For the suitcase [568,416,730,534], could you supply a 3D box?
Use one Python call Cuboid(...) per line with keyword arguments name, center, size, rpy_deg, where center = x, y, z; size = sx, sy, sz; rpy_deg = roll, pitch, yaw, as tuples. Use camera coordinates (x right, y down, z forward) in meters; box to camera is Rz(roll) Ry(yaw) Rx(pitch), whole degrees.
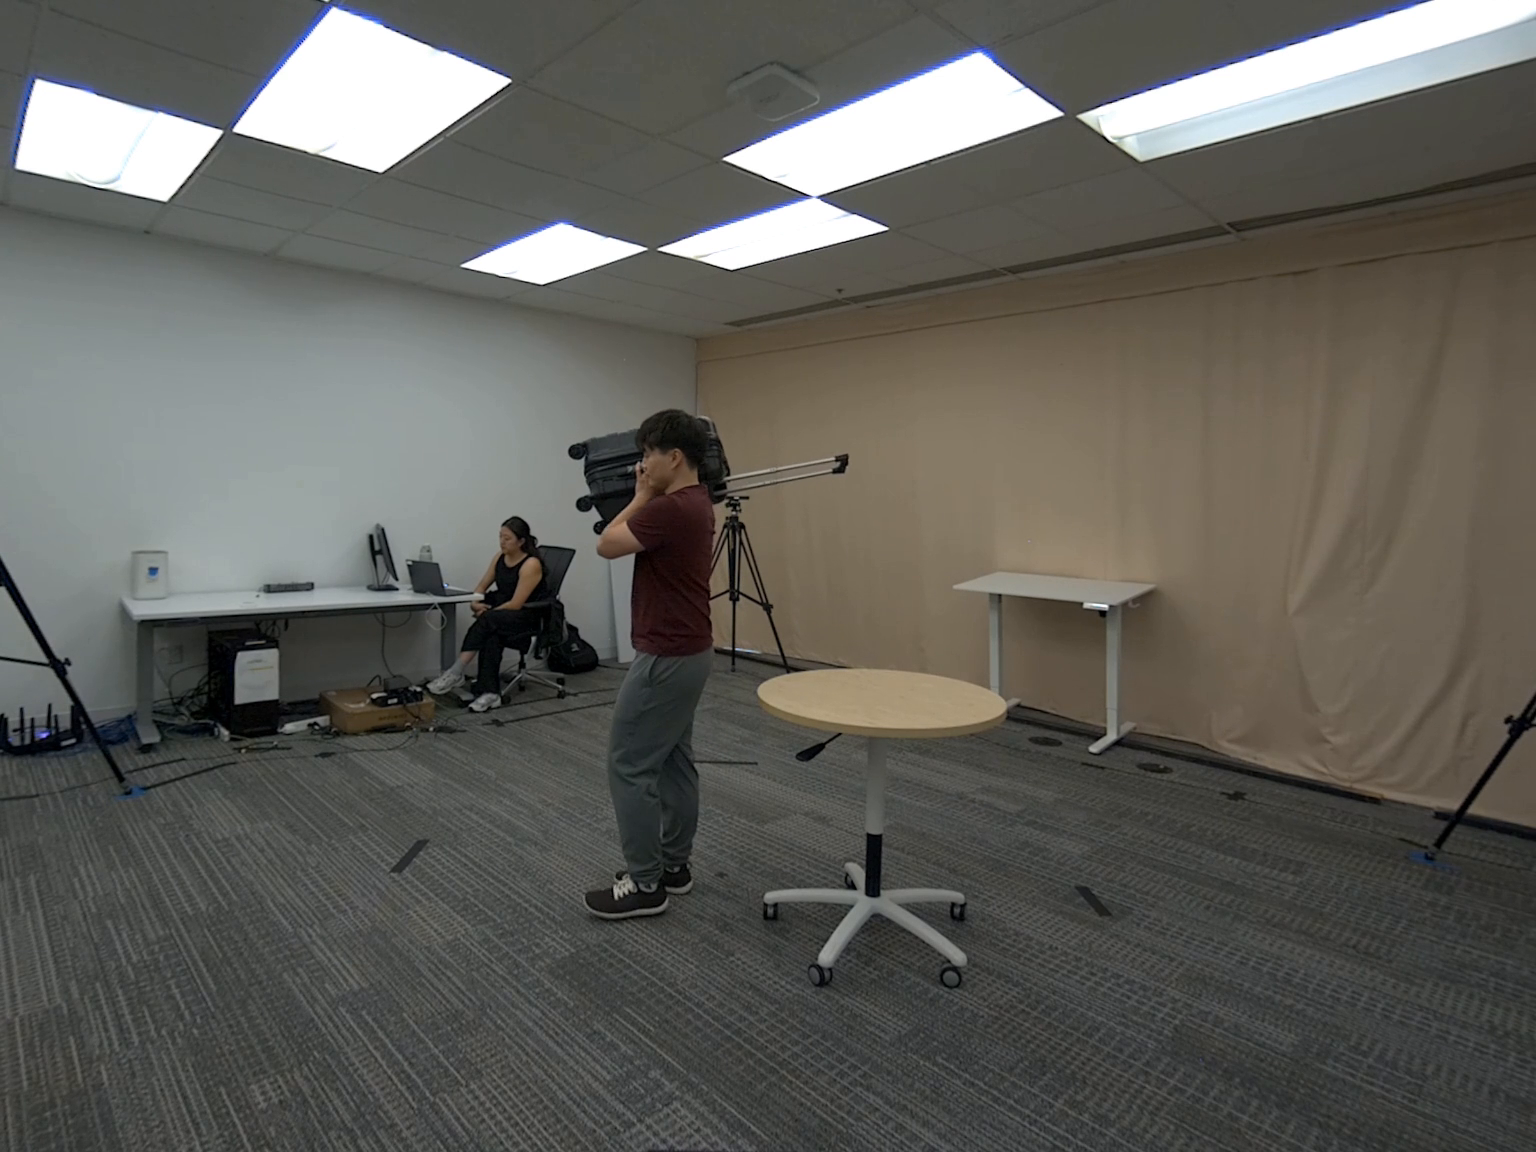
Cuboid(name="suitcase", center=(-0.227, -0.424, 3.120), size=(0.978, 0.261, 0.379), rpy_deg=(-12, -15, -1))
